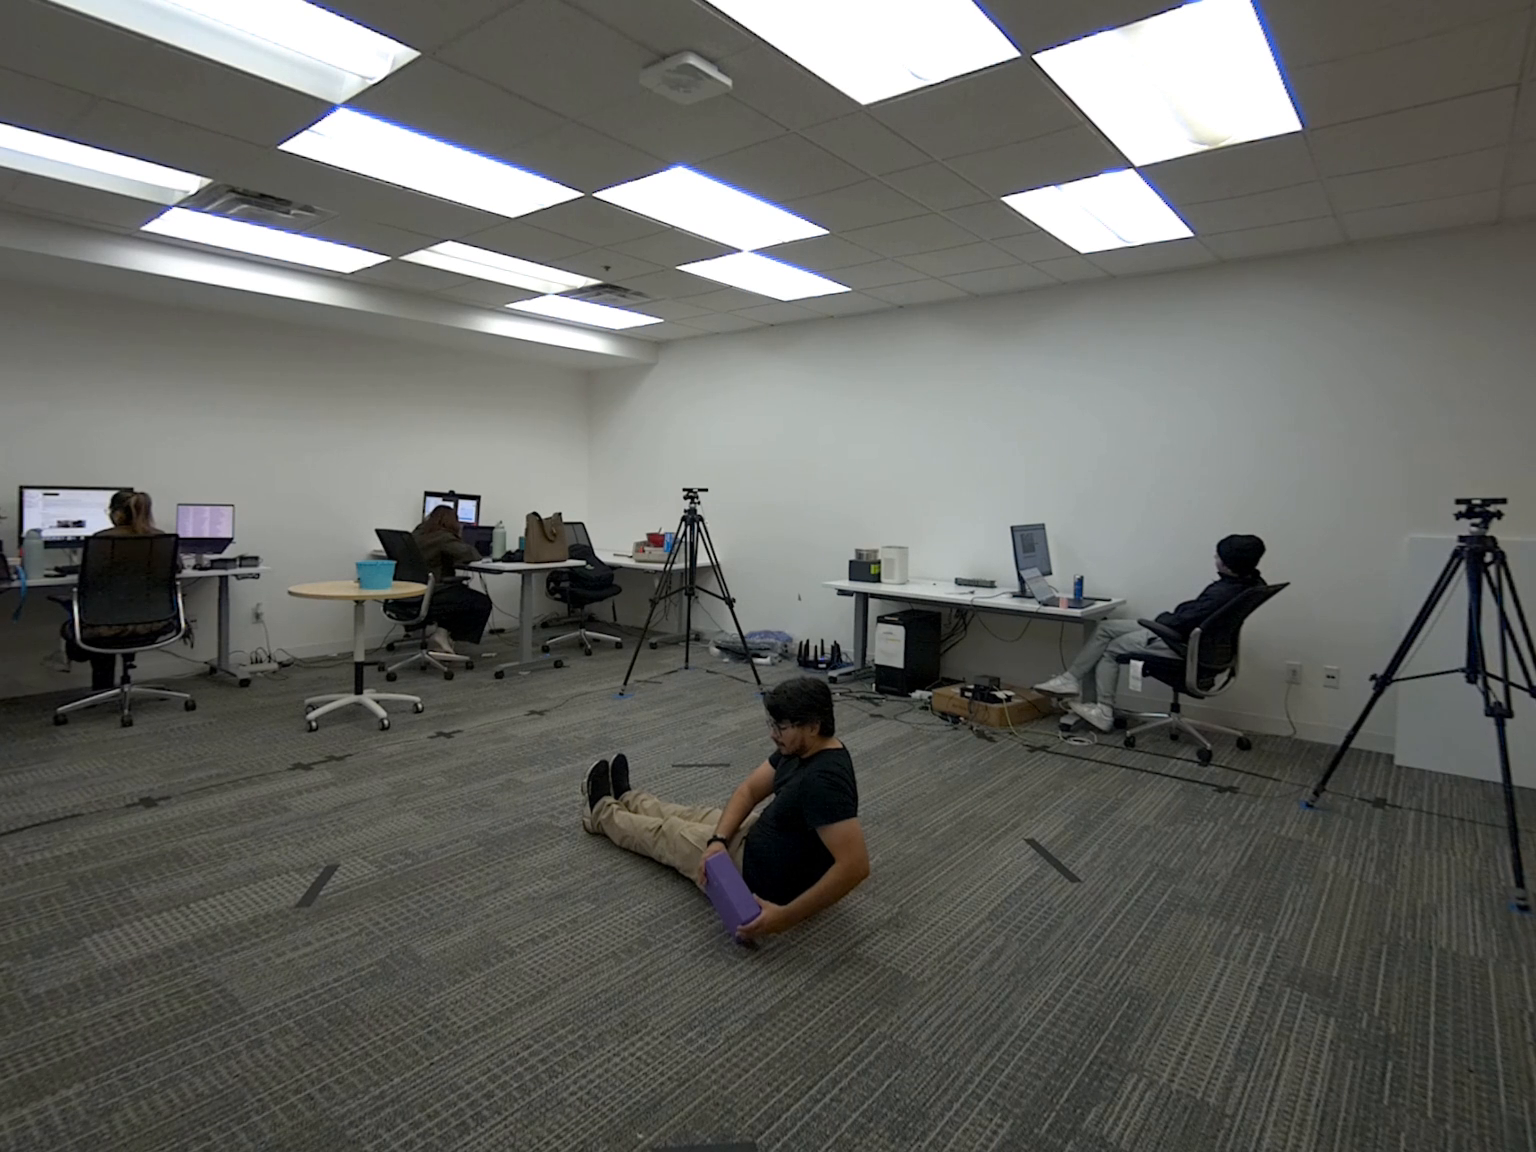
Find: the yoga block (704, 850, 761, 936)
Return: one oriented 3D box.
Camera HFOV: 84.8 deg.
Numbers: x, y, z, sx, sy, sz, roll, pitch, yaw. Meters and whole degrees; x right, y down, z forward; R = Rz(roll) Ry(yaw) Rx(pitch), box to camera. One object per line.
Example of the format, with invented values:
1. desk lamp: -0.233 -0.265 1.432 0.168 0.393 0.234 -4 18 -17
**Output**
1. yoga block: -0.113 0.997 2.635 0.075 0.145 0.239 -11 43 -20
